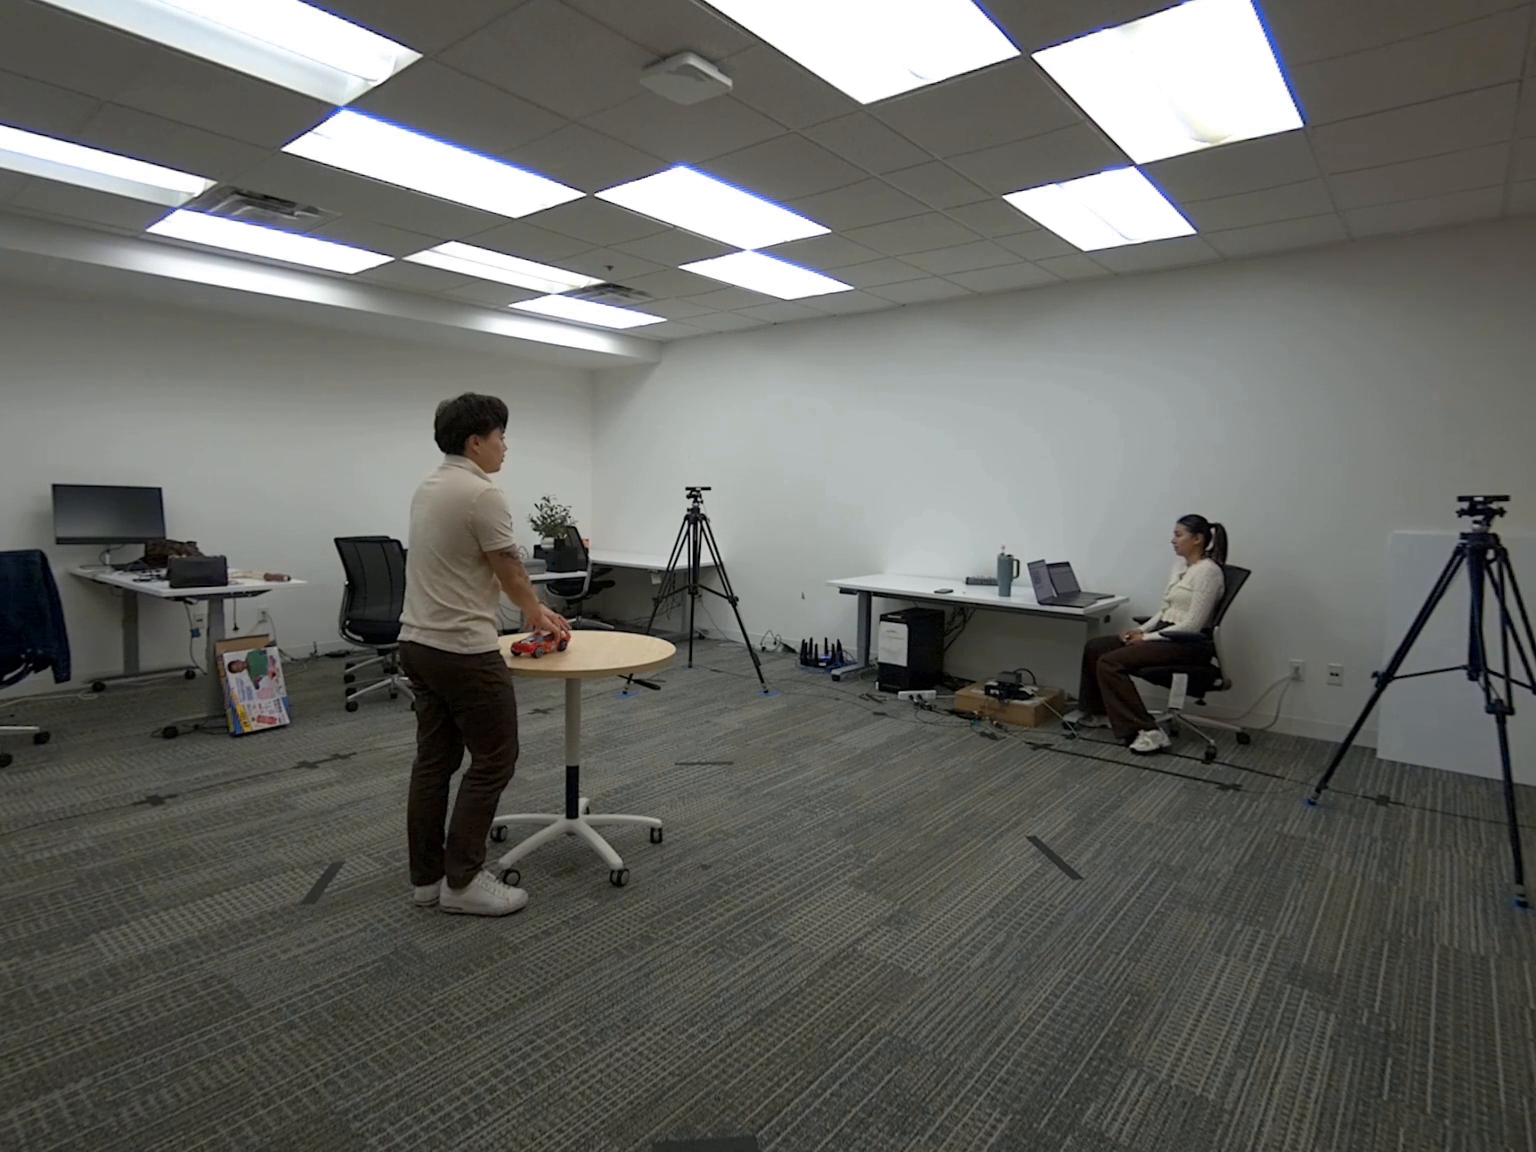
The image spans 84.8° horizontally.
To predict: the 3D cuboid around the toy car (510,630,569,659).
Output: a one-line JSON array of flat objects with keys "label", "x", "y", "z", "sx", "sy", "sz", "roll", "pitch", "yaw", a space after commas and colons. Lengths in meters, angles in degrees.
[{"label": "toy car", "x": -0.826, "y": 0.246, "z": 3.095, "sx": 0.133, "sy": 0.082, "sz": 0.252, "roll": 3, "pitch": 17, "yaw": 21}]
